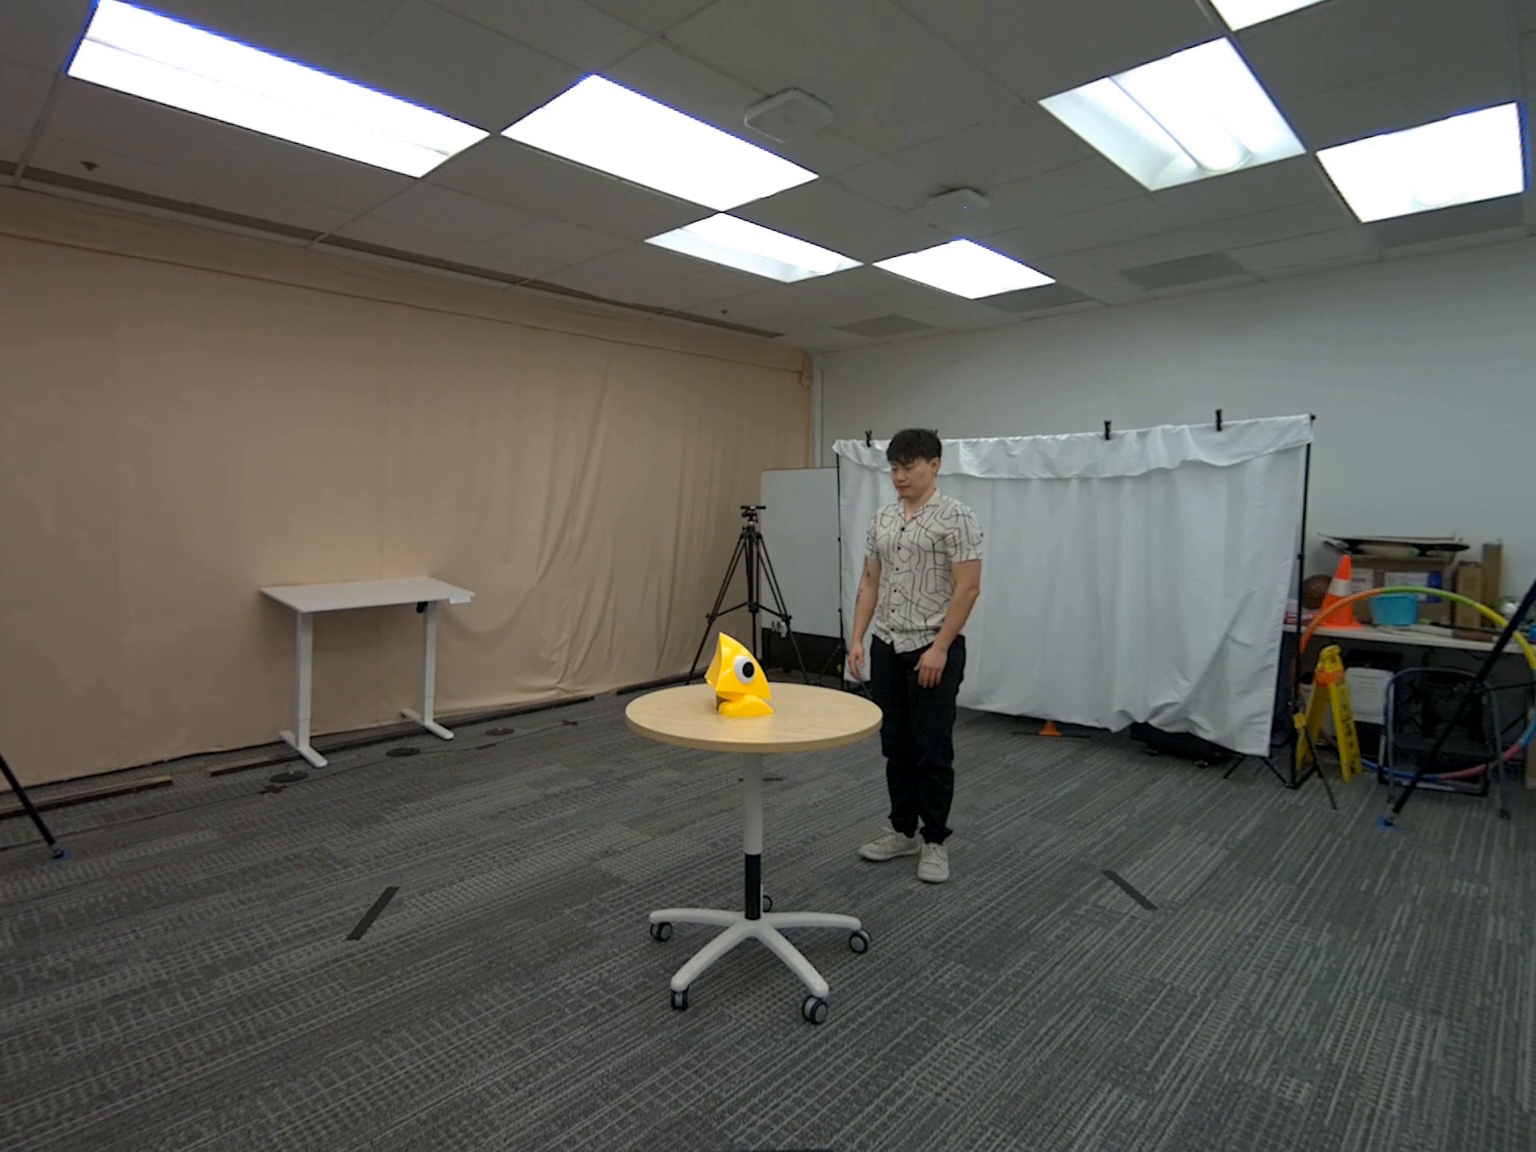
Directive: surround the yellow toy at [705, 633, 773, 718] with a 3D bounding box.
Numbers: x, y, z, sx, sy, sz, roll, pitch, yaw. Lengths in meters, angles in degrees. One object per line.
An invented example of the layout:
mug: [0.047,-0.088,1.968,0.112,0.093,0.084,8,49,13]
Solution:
yellow toy: [-0.081,0.284,2.524,0.191,0.230,0.208,-1,3,-12]
